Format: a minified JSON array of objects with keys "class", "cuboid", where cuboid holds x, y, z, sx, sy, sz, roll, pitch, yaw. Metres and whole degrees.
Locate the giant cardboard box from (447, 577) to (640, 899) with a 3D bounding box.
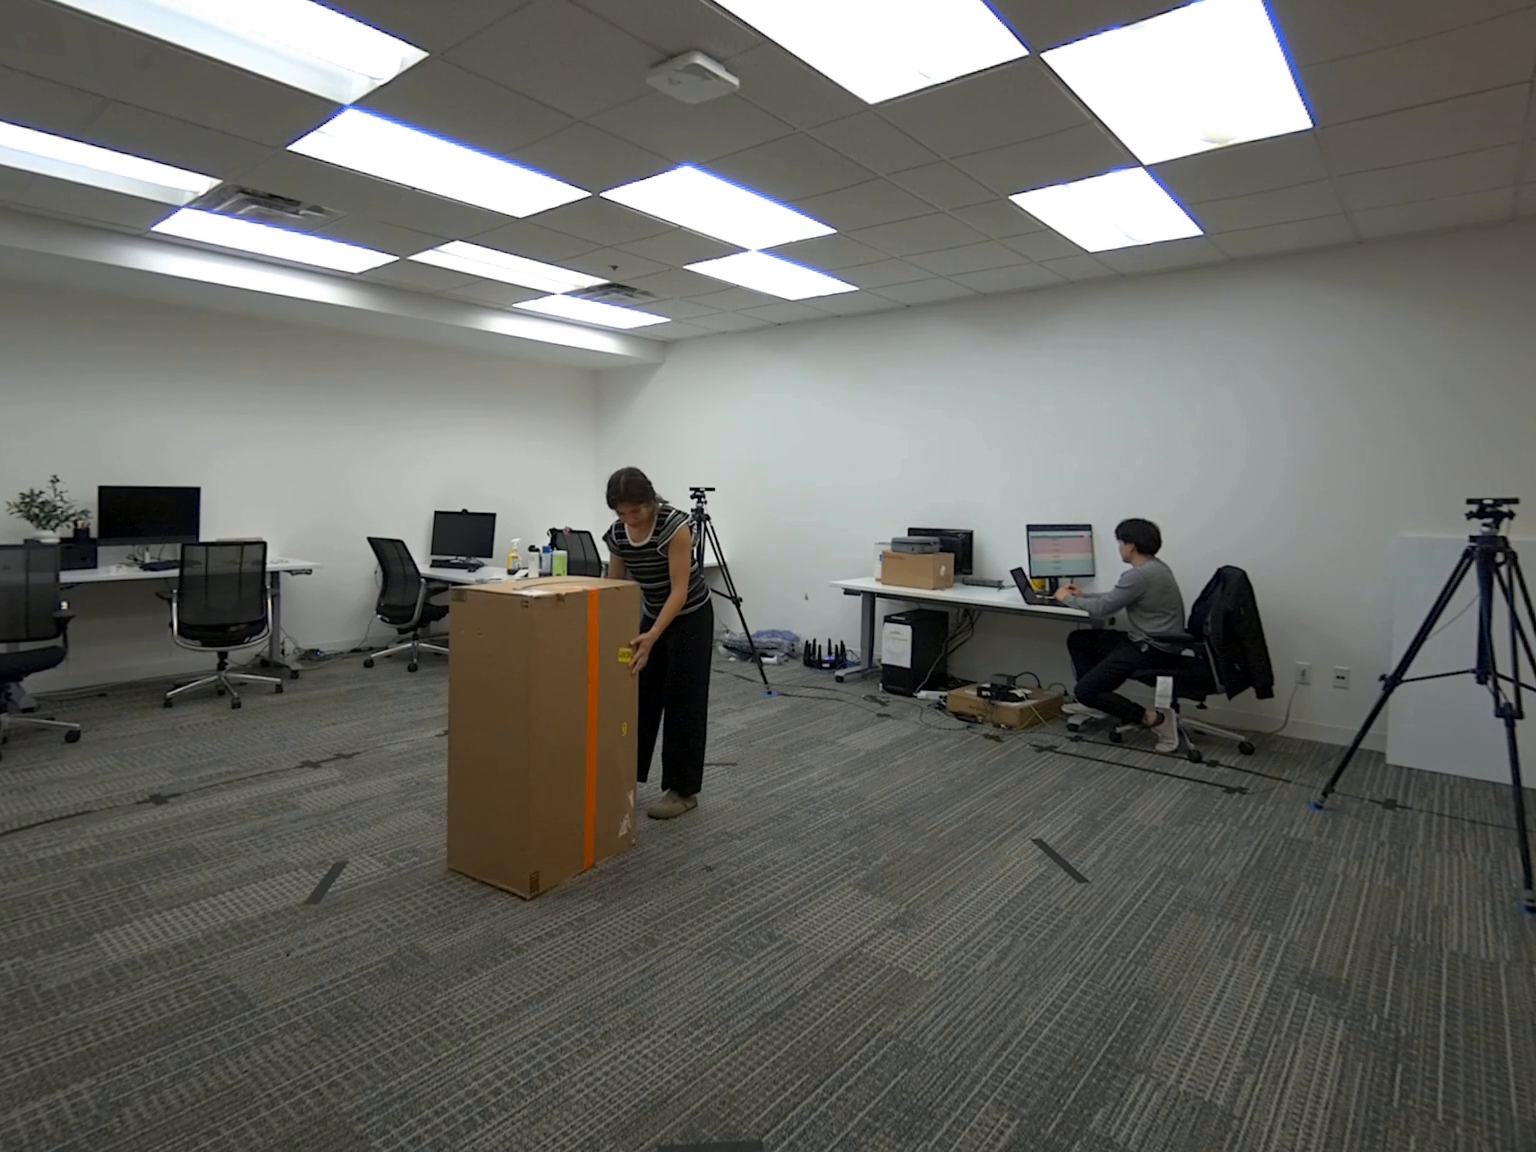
[{"class":"giant cardboard box","cuboid":[-0.837,0.542,3.165,0.439,1.023,0.562,3,3,31]}]
